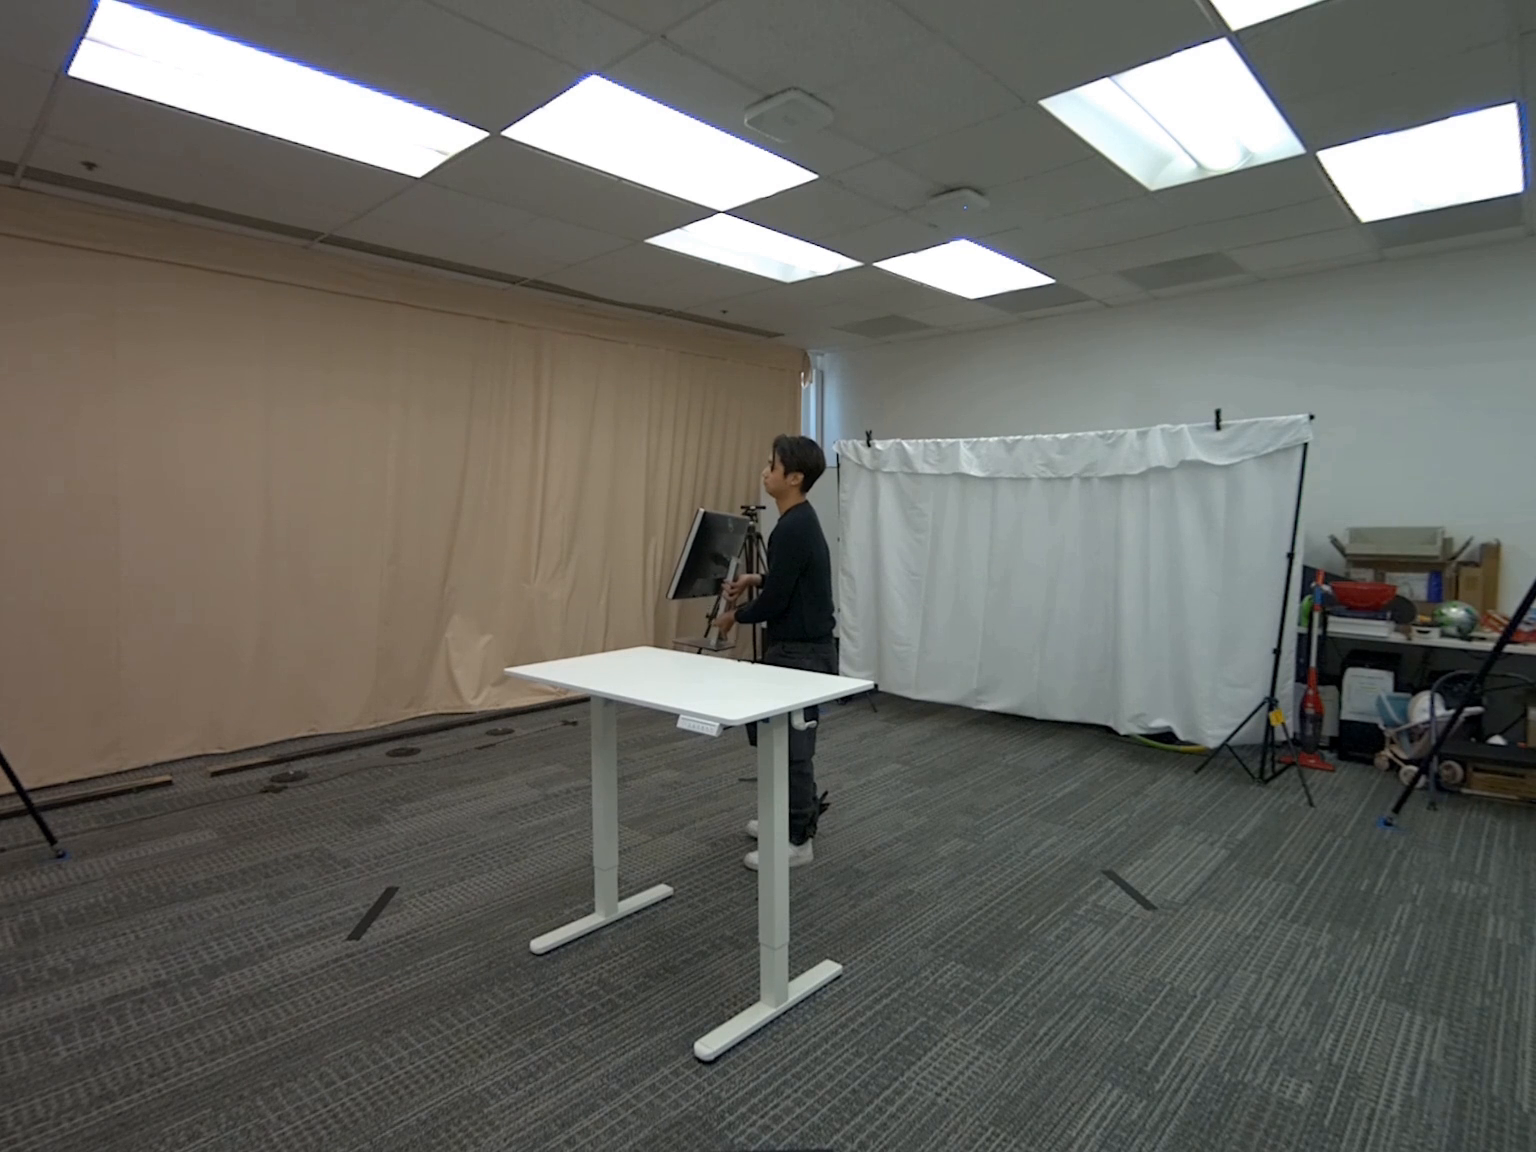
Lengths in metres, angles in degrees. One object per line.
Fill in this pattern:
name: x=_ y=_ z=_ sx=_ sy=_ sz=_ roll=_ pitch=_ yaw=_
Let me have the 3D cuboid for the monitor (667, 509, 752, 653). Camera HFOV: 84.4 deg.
monitor: x=-0.210 y=0.021 z=3.399 sx=0.191 sy=0.522 sz=0.529 roll=10 pitch=3 yaw=16
